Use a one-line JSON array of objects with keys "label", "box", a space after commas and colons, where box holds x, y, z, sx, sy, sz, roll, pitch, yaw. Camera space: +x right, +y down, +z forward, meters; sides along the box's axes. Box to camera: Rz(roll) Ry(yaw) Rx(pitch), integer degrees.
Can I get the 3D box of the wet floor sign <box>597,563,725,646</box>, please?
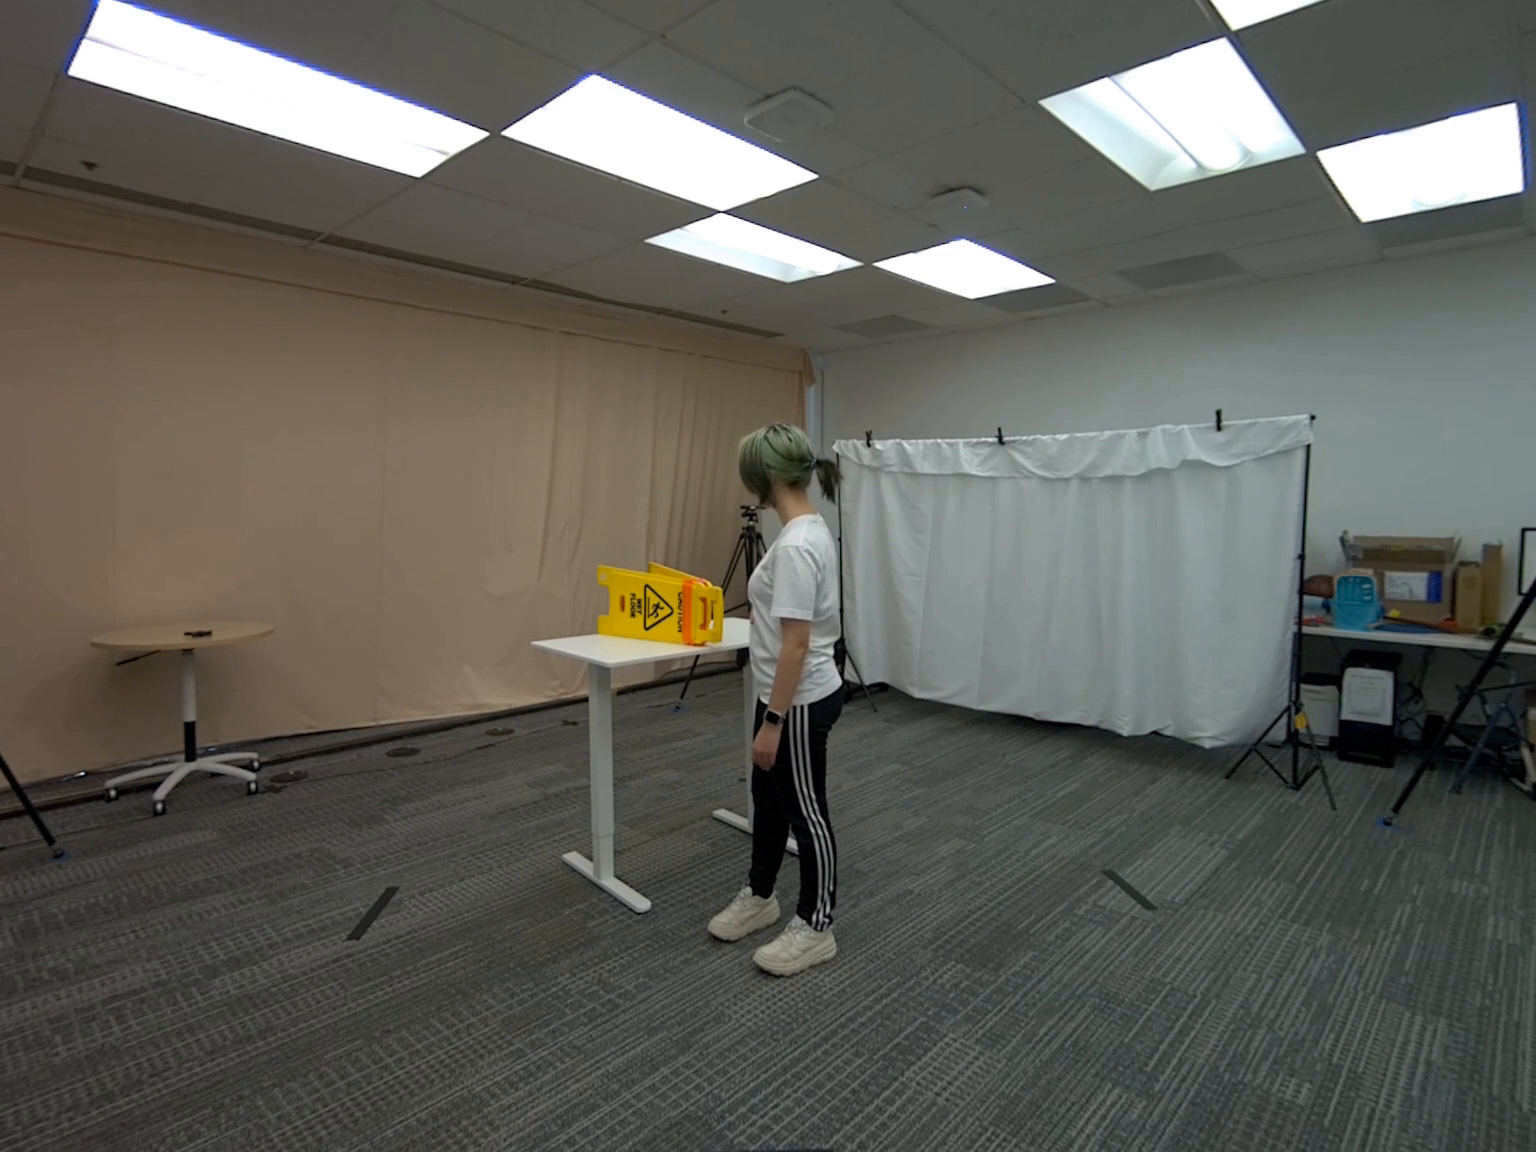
[{"label": "wet floor sign", "box": [-0.377, 0.117, 3.234, 0.281, 0.281, 0.668, -4, 7, -40]}]
